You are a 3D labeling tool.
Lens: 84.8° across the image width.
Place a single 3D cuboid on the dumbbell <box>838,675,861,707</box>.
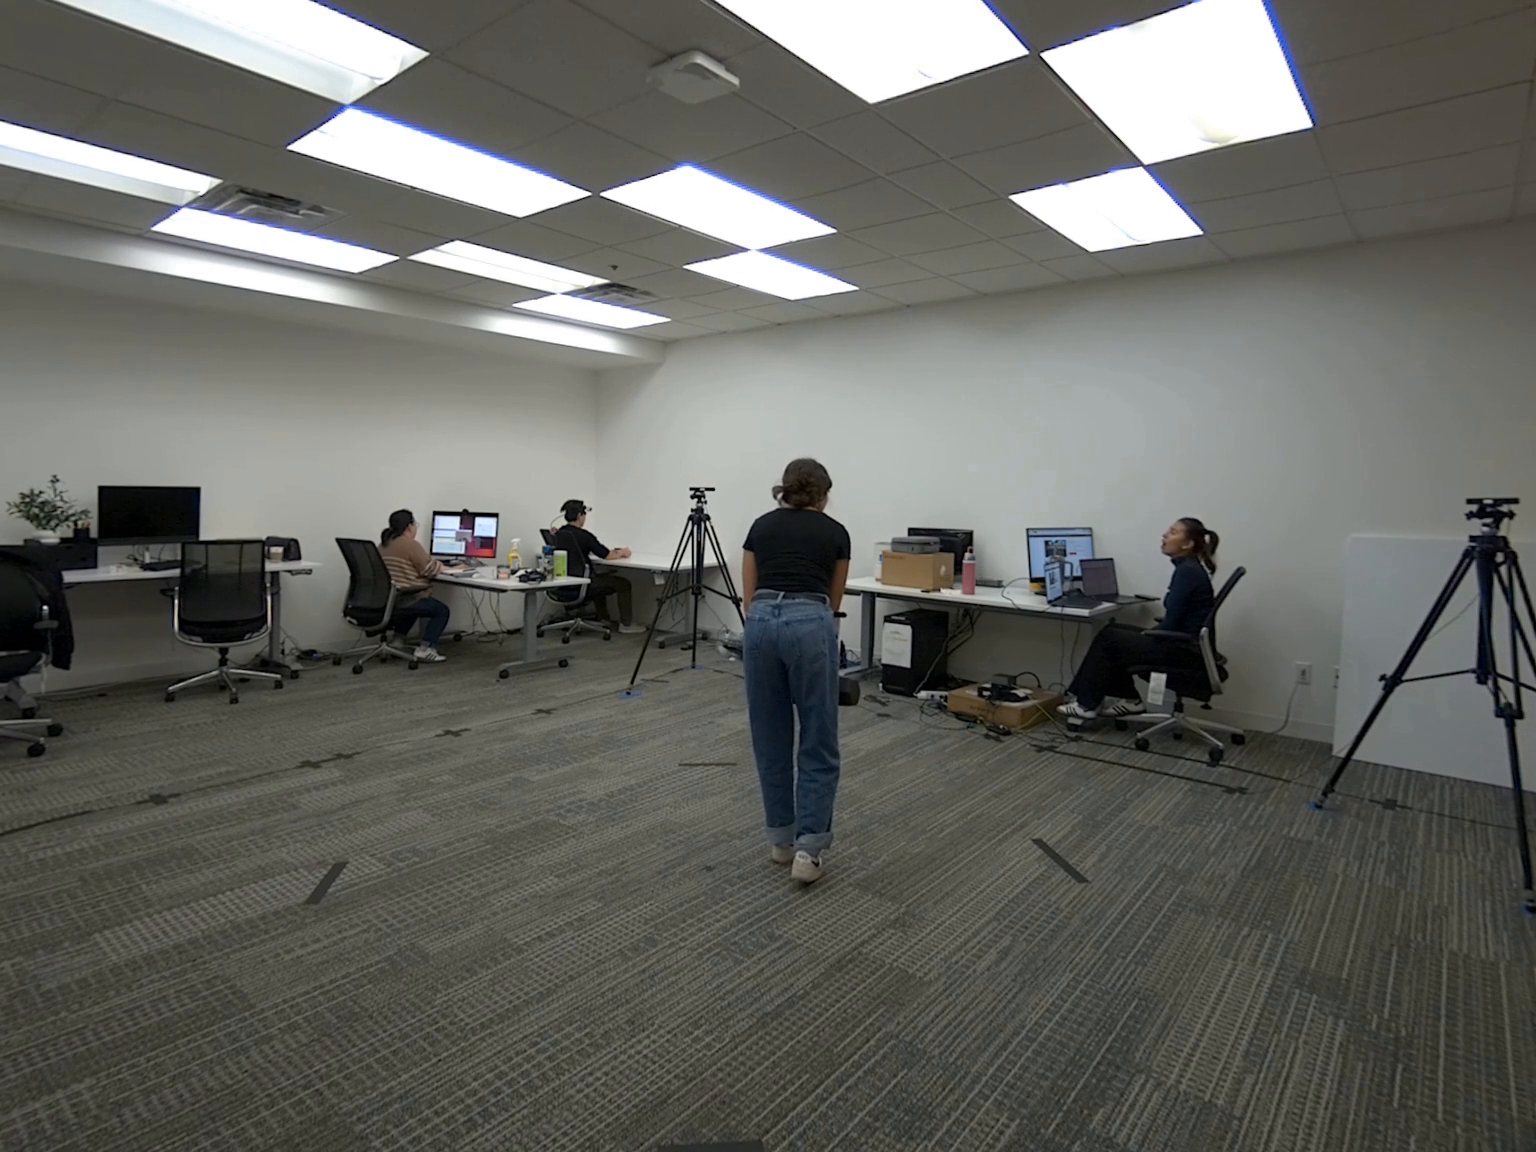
[{"bbox_3d":[0.194,0.441,3.260,0.301,0.125,0.104,-3,-37,32],"label":"dumbbell"}]
